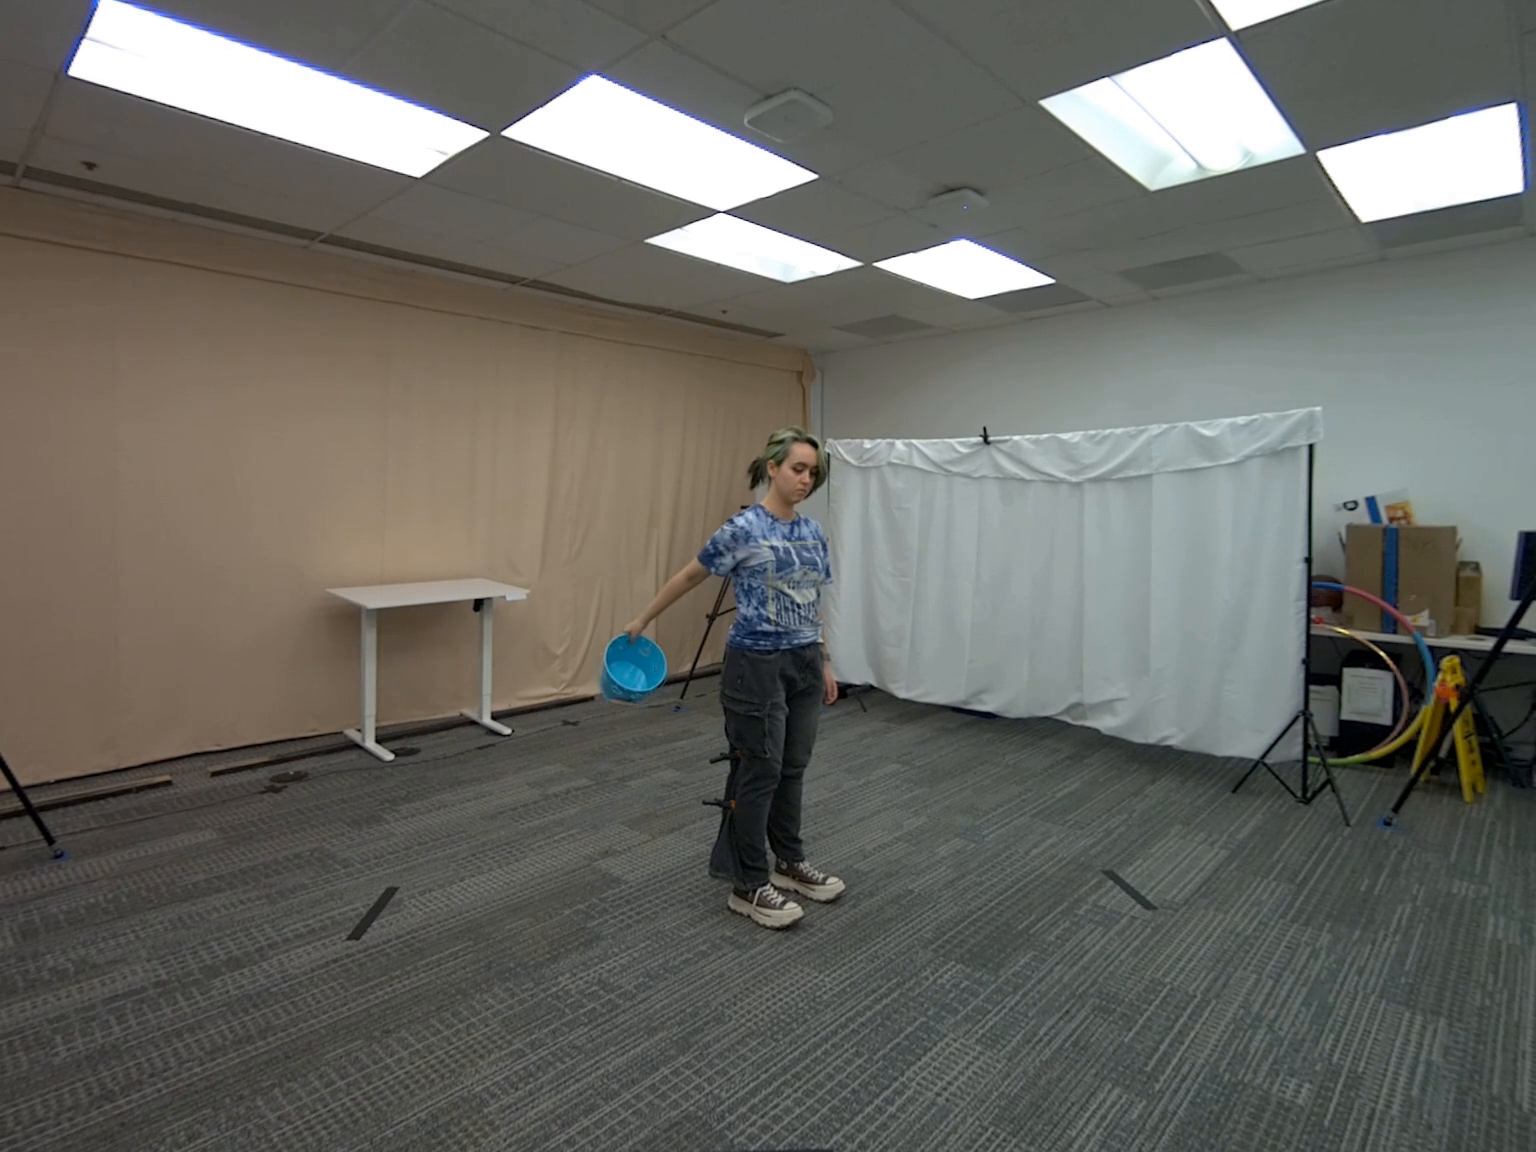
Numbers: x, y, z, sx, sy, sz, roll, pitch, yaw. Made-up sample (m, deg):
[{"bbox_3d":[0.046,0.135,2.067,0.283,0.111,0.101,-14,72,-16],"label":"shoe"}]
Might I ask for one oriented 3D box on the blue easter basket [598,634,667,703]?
[{"bbox_3d":[-0.494,0.351,3.009,0.237,0.250,0.156,-3,-36,-30],"label":"blue easter basket"}]
